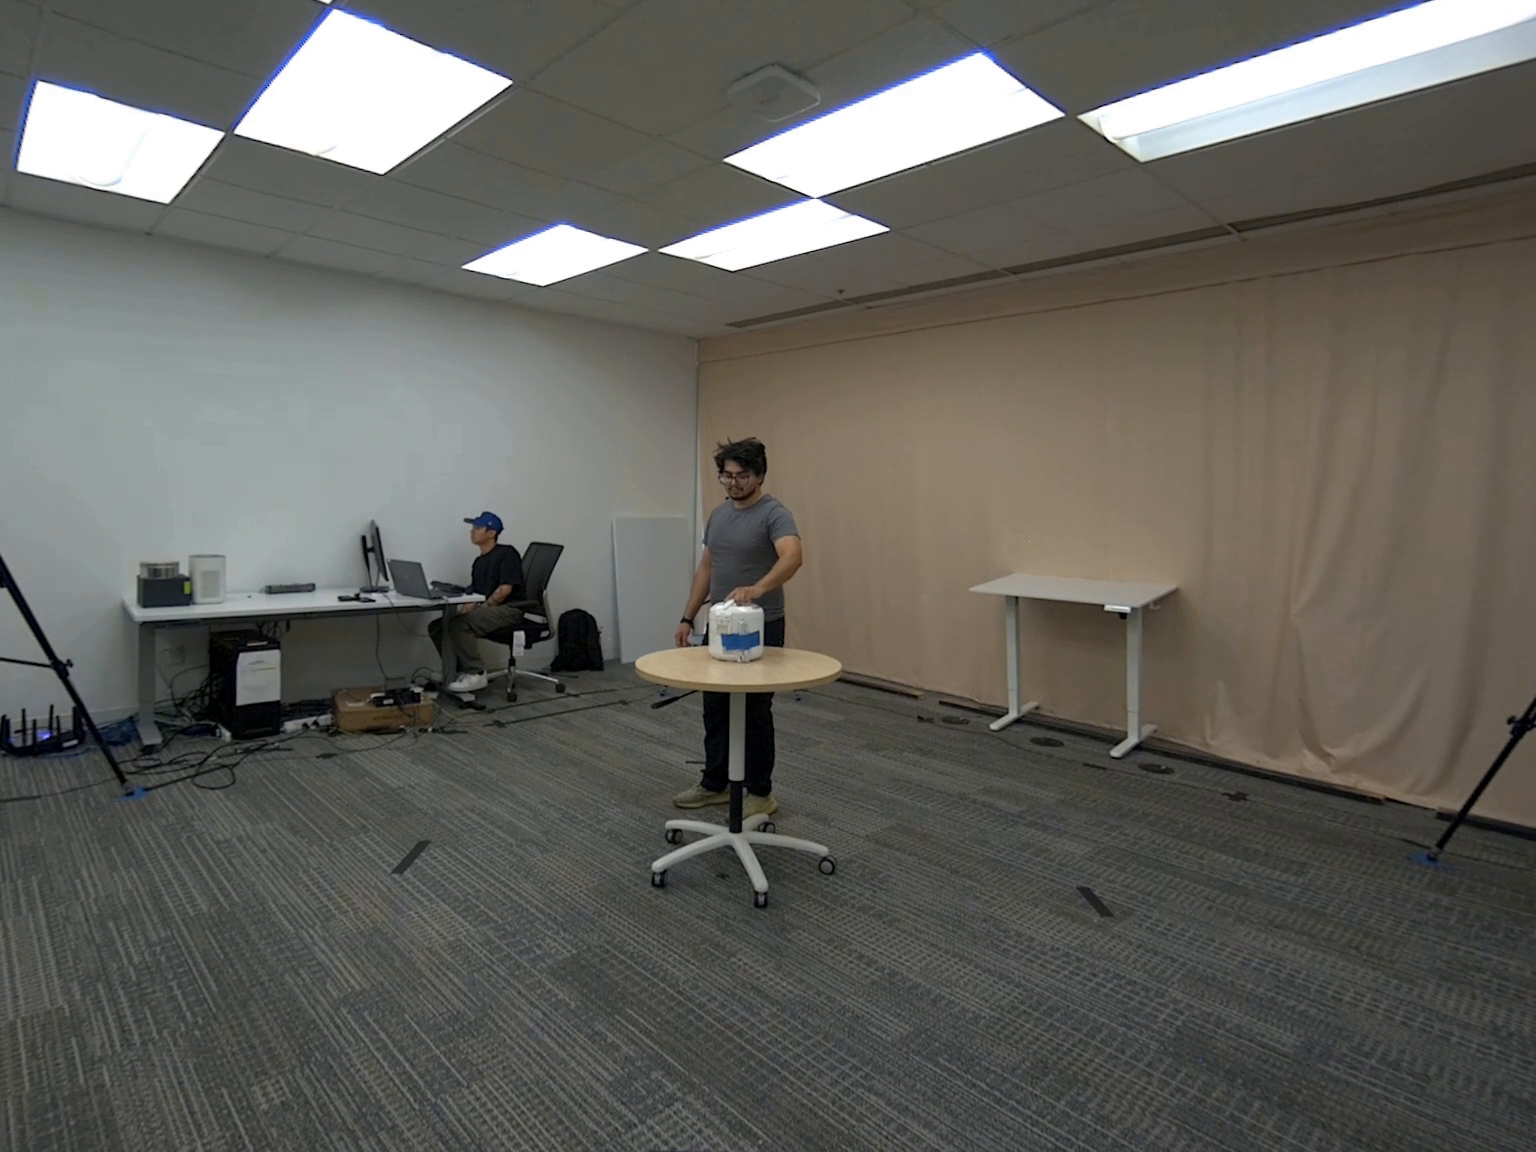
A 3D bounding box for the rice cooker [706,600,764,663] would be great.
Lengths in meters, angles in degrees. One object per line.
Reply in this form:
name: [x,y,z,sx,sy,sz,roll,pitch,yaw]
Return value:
rice cooker: [-0.132,0.200,3.218,0.222,0.232,0.216,4,4,29]
